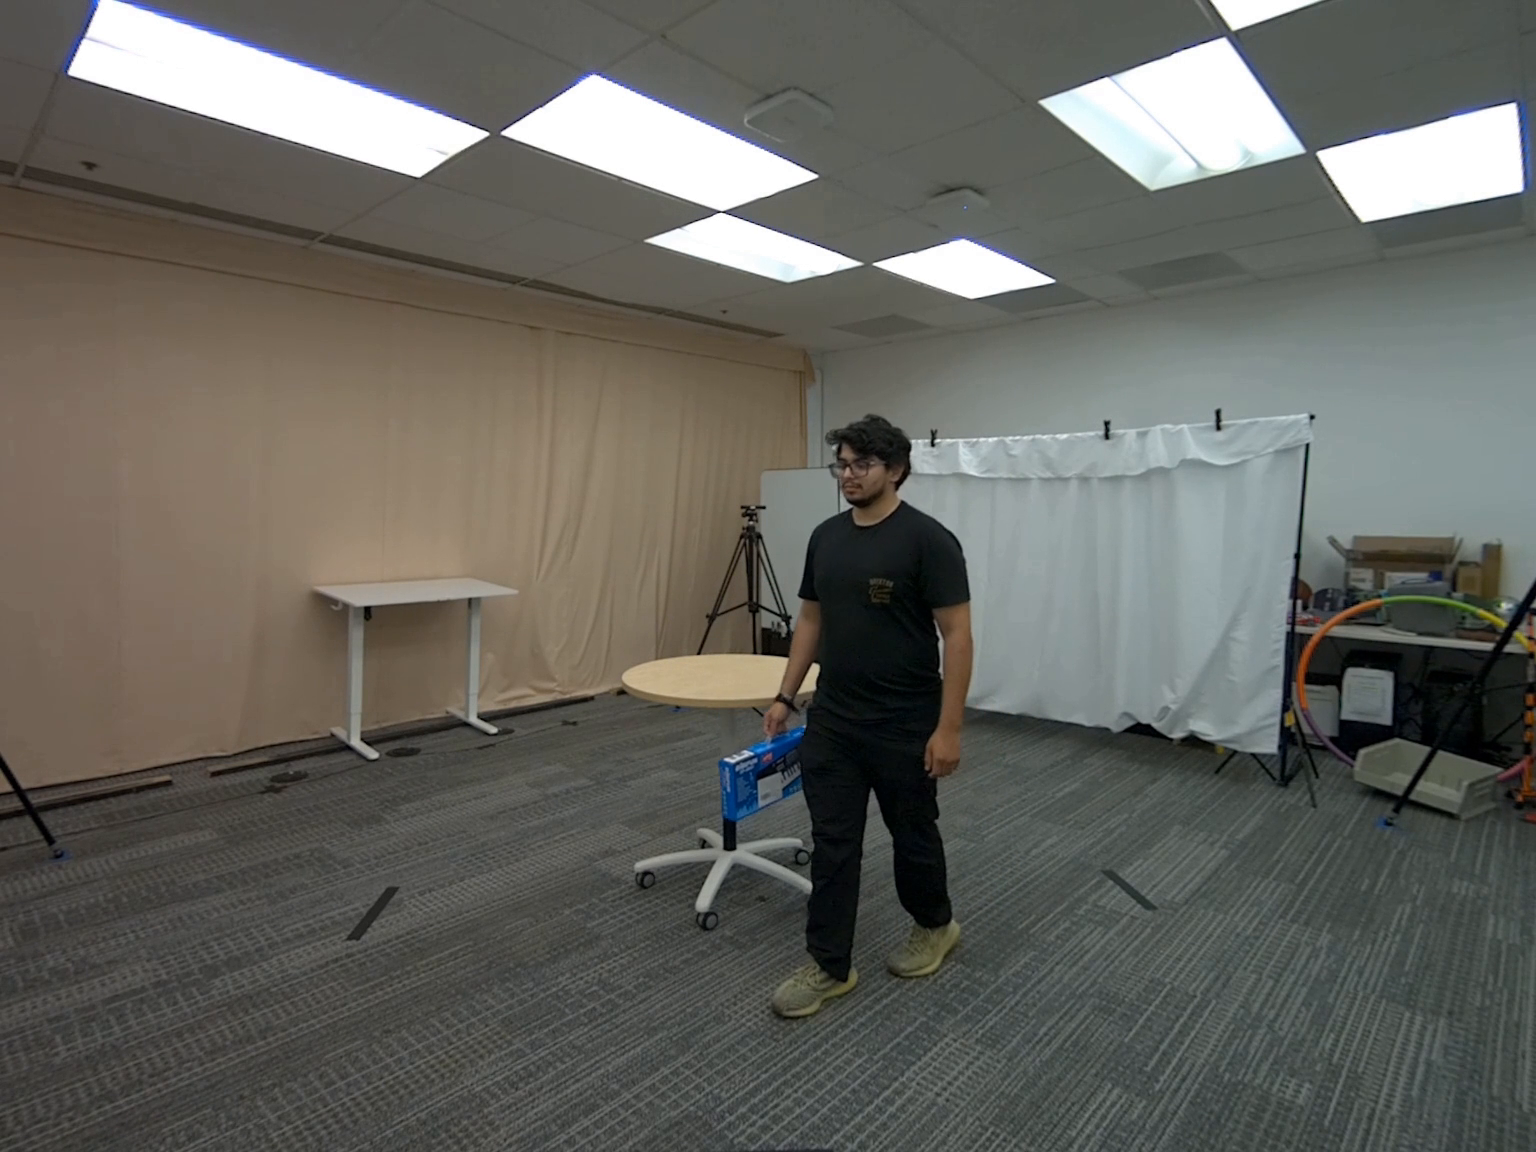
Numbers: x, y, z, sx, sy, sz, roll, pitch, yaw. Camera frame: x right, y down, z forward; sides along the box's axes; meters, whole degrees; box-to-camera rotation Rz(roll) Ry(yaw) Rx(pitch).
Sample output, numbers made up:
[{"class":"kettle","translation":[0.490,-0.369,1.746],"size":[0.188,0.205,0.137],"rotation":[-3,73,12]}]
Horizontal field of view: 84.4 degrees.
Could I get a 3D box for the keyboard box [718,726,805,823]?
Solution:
[{"class":"keyboard box","translation":[0.038,0.578,2.546],"size":[0.425,0.175,0.061],"rotation":[-12,10,-43]}]
